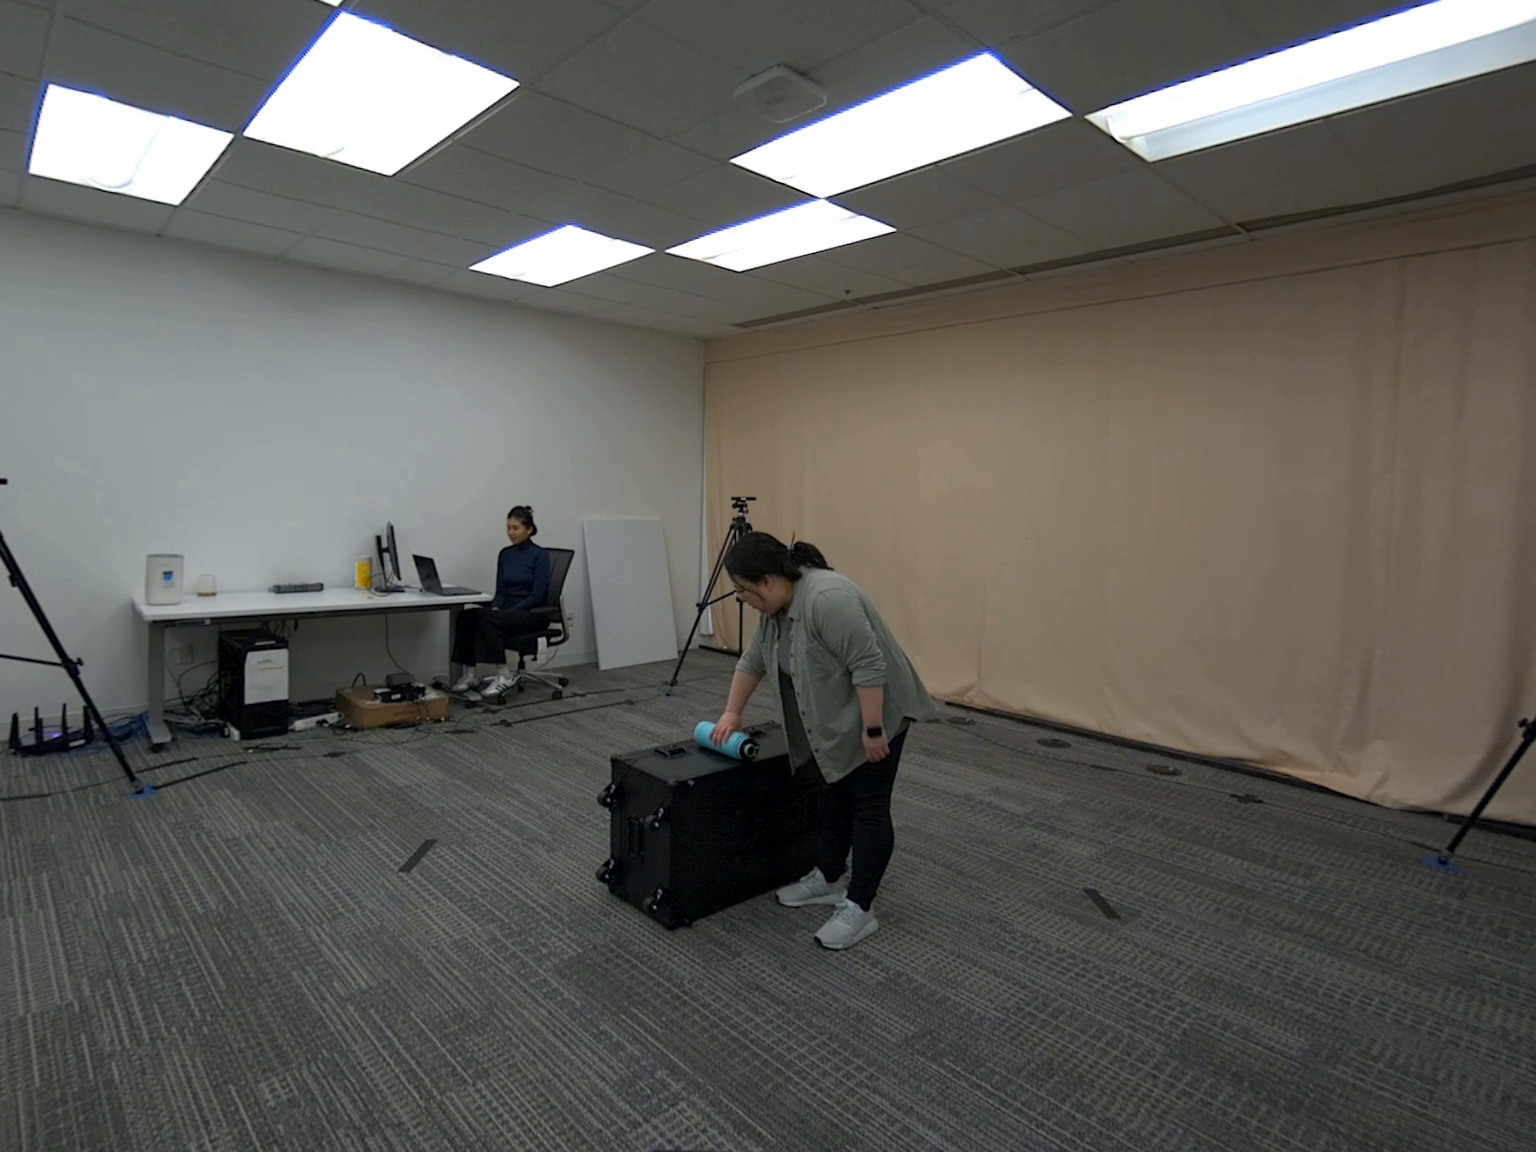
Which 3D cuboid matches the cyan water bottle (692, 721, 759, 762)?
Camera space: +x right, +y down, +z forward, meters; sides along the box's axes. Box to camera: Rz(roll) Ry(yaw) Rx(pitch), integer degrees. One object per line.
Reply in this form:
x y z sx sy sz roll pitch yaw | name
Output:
-0.146 0.584 2.995 0.090 0.092 0.291 -2 6 -42 | cyan water bottle
